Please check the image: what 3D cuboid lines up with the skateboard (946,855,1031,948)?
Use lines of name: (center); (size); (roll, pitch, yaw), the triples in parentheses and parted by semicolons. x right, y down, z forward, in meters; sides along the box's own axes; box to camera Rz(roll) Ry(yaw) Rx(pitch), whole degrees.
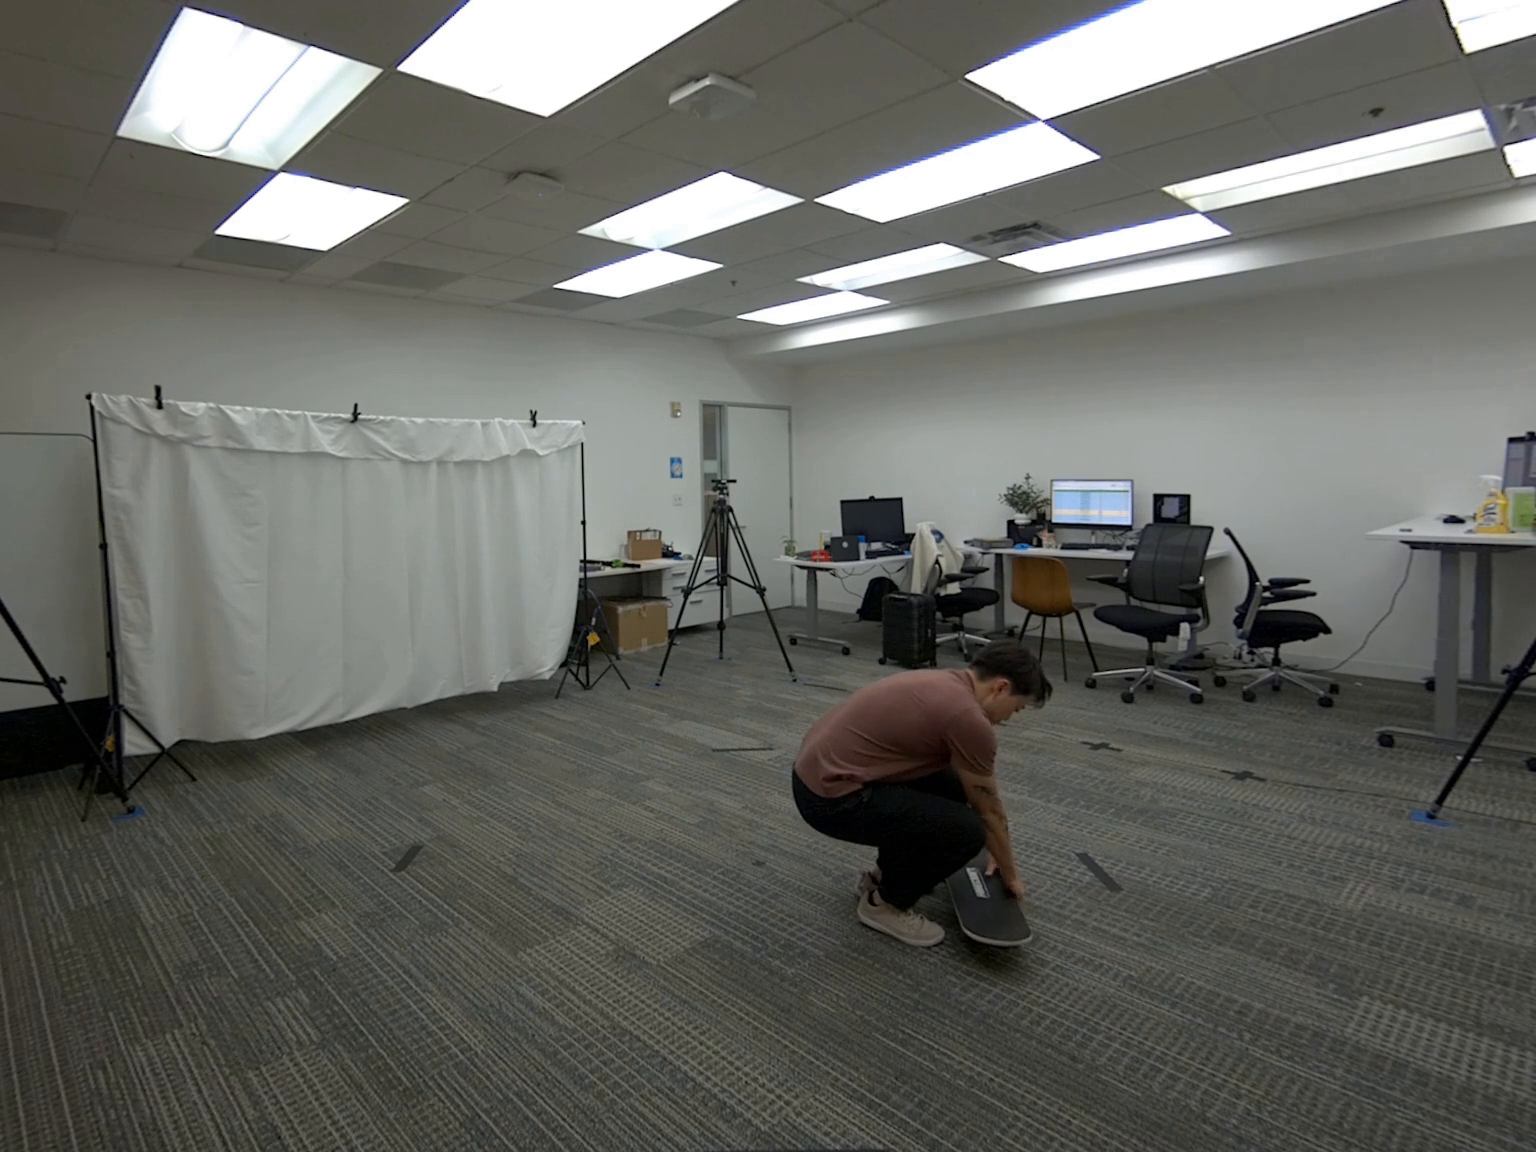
skateboard: (0.676, 1.018, 2.753); (0.194, 0.110, 0.787); (-3, 7, 2)
